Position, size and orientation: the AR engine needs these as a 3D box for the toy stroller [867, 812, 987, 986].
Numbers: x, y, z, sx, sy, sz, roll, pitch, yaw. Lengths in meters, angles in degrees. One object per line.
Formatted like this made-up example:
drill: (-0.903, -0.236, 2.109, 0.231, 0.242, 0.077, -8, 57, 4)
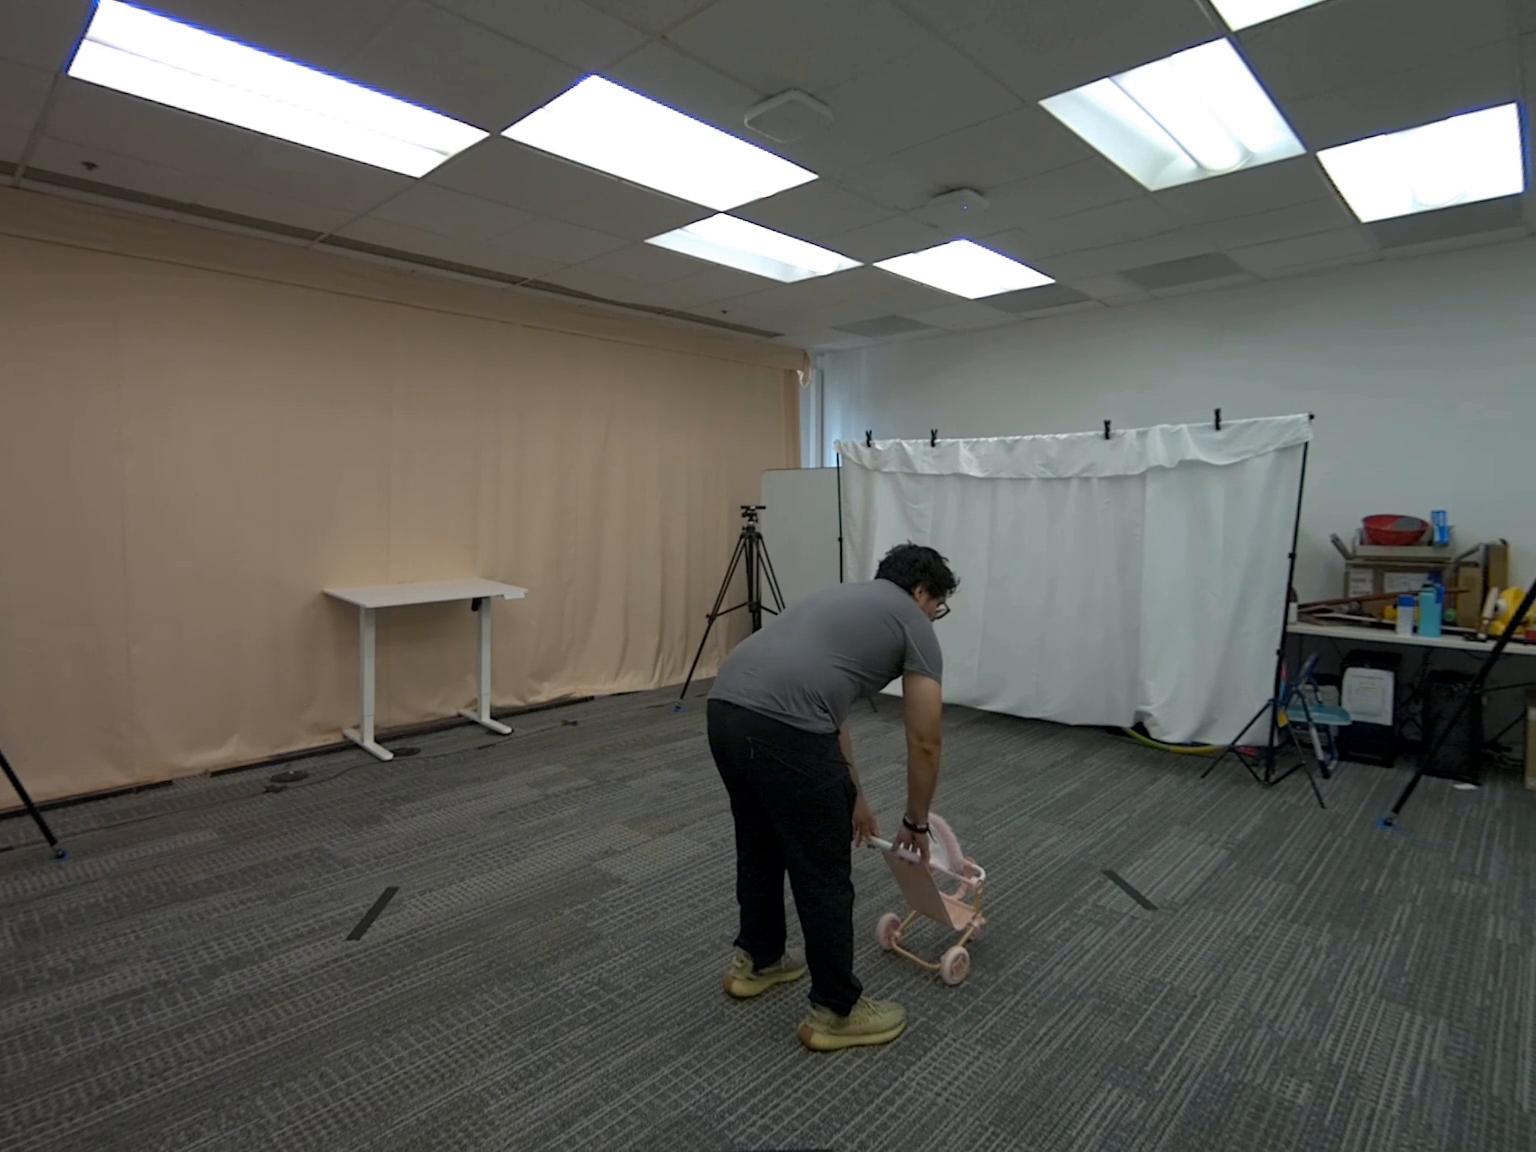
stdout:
toy stroller: (0.512, 0.954, 2.570, 0.334, 0.529, 0.290, -22, 15, -33)
